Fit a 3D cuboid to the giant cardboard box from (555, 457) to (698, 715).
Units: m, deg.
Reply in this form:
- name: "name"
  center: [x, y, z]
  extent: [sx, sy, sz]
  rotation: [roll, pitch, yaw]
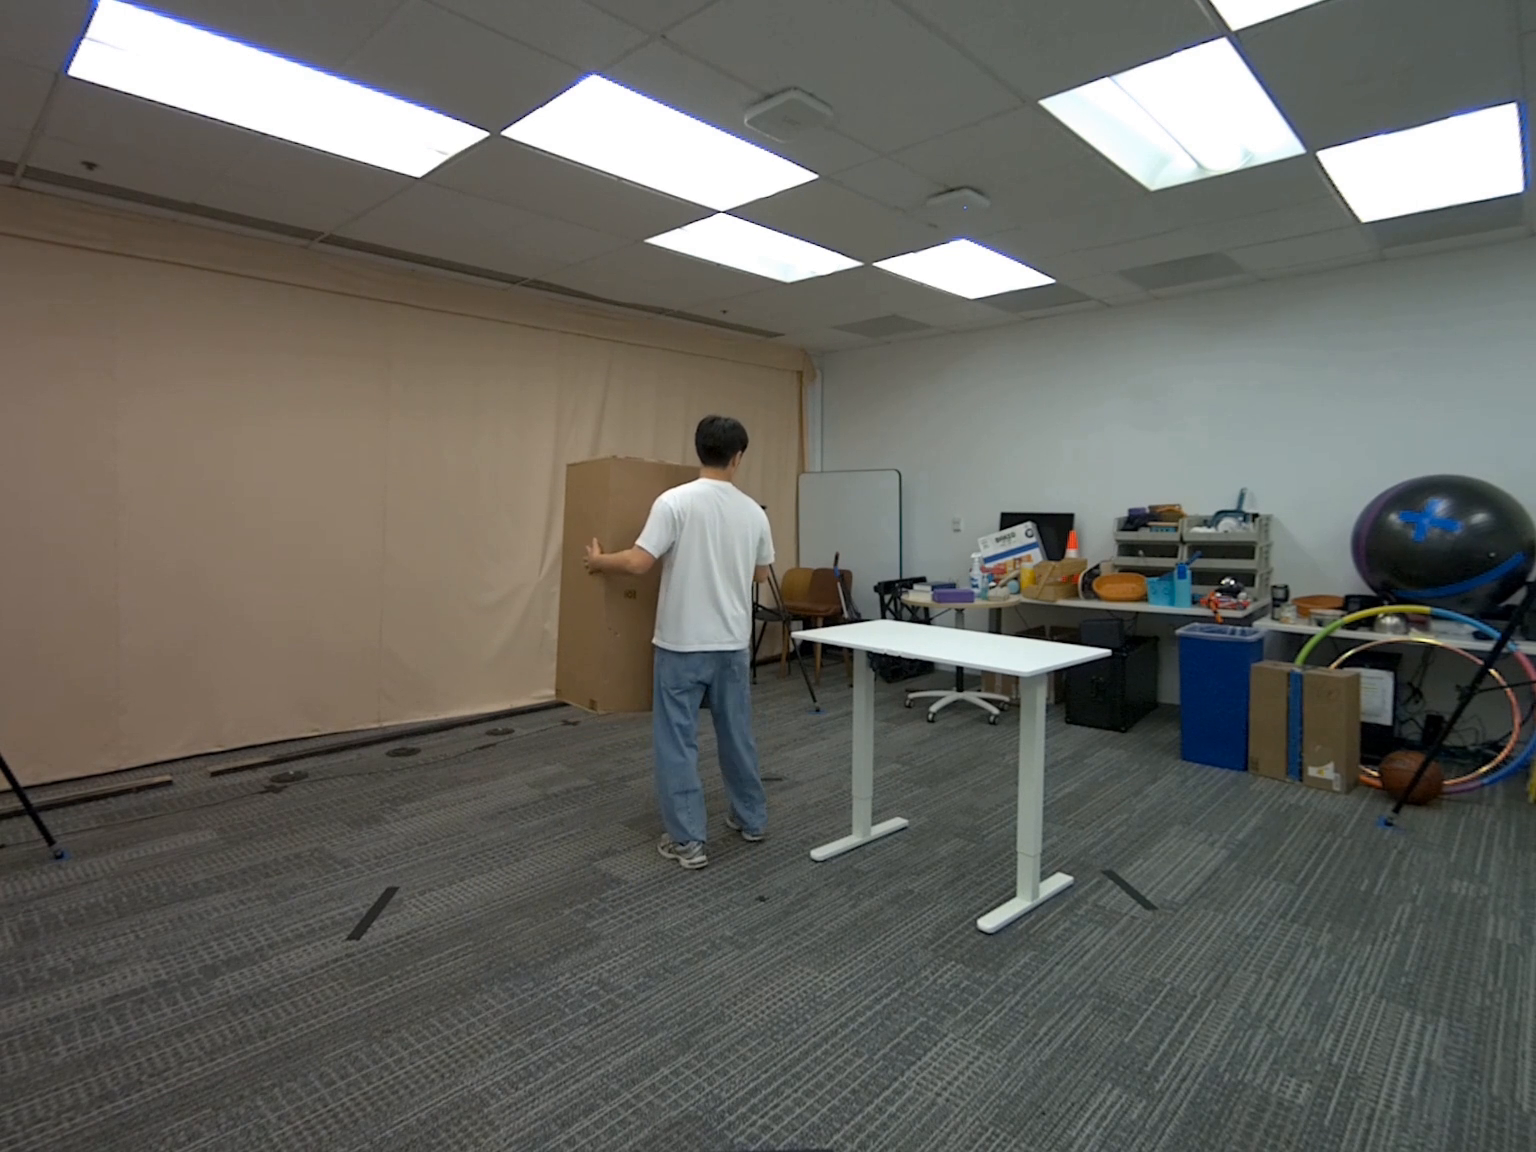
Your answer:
- name: "giant cardboard box"
  center: [-0.543, 0.040, 3.628]
  extent: [0.560, 1.026, 0.439]
  rotation: [3, -1, -35]
